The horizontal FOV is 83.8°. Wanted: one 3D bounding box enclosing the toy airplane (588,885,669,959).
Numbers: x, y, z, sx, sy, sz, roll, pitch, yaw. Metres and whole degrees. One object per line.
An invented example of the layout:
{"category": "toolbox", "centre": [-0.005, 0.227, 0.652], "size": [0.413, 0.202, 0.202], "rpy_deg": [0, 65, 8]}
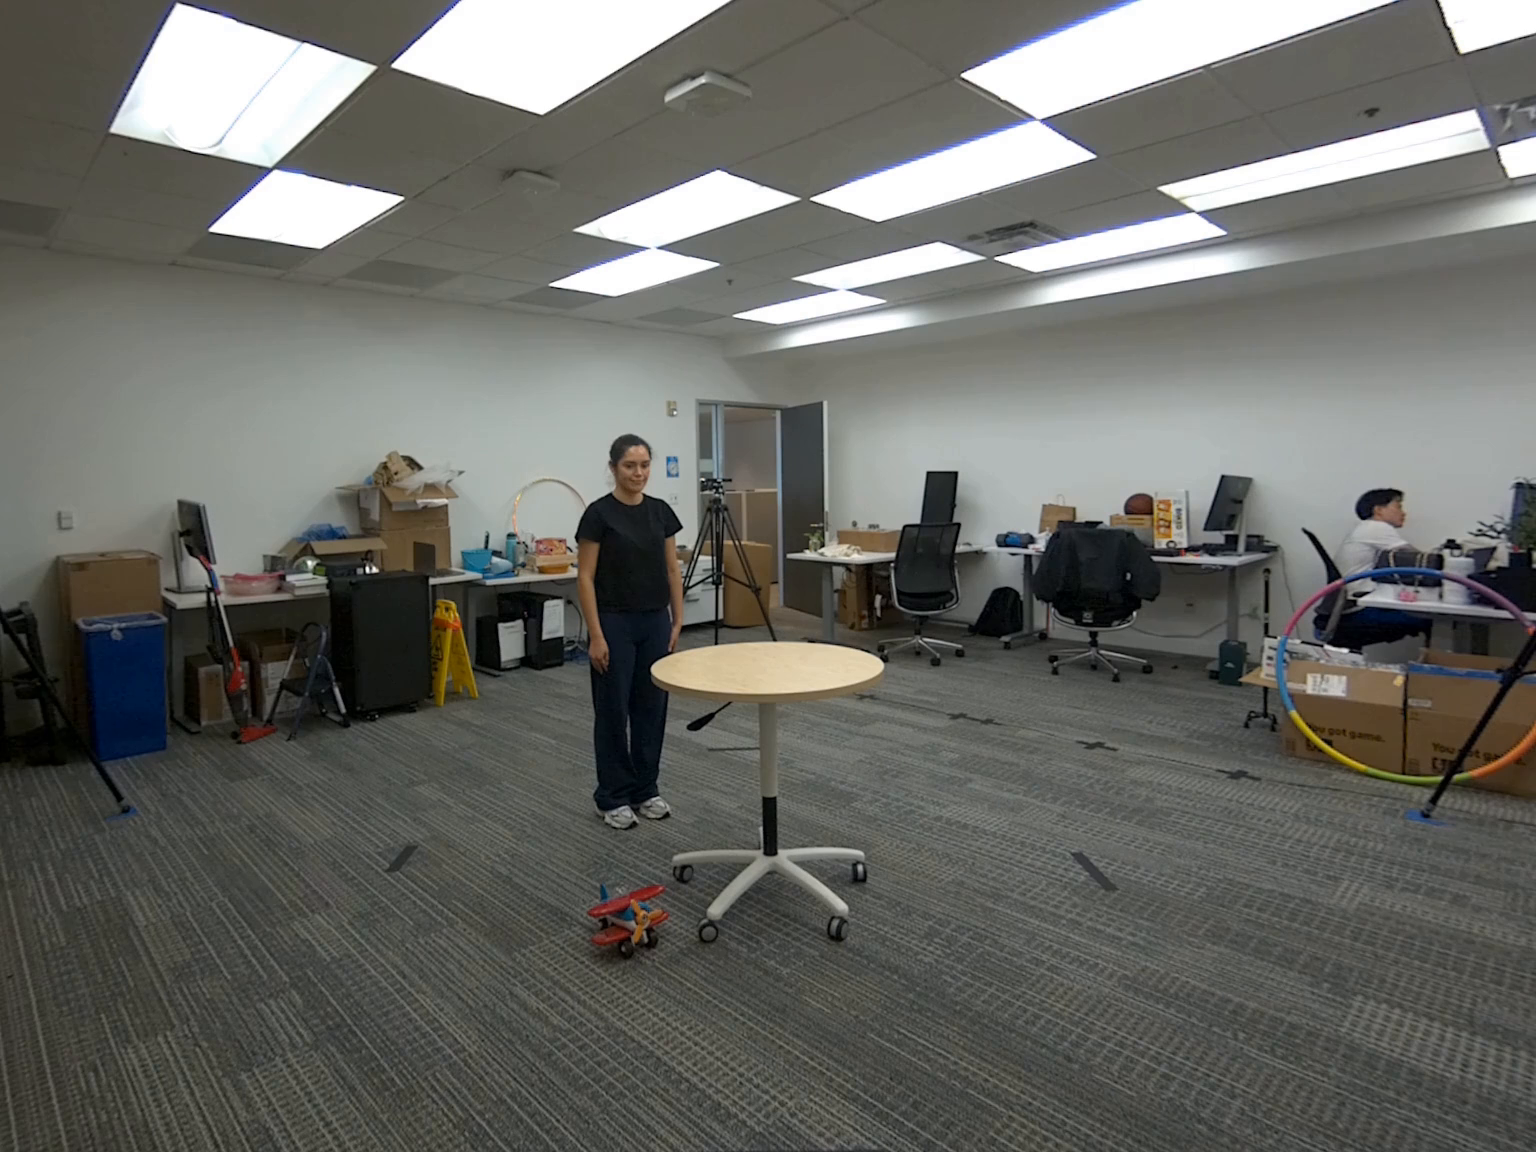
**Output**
{"category": "toy airplane", "centre": [-0.450, 1.036, 2.604], "size": [0.265, 0.155, 0.247], "rpy_deg": [4, 8, 22]}
